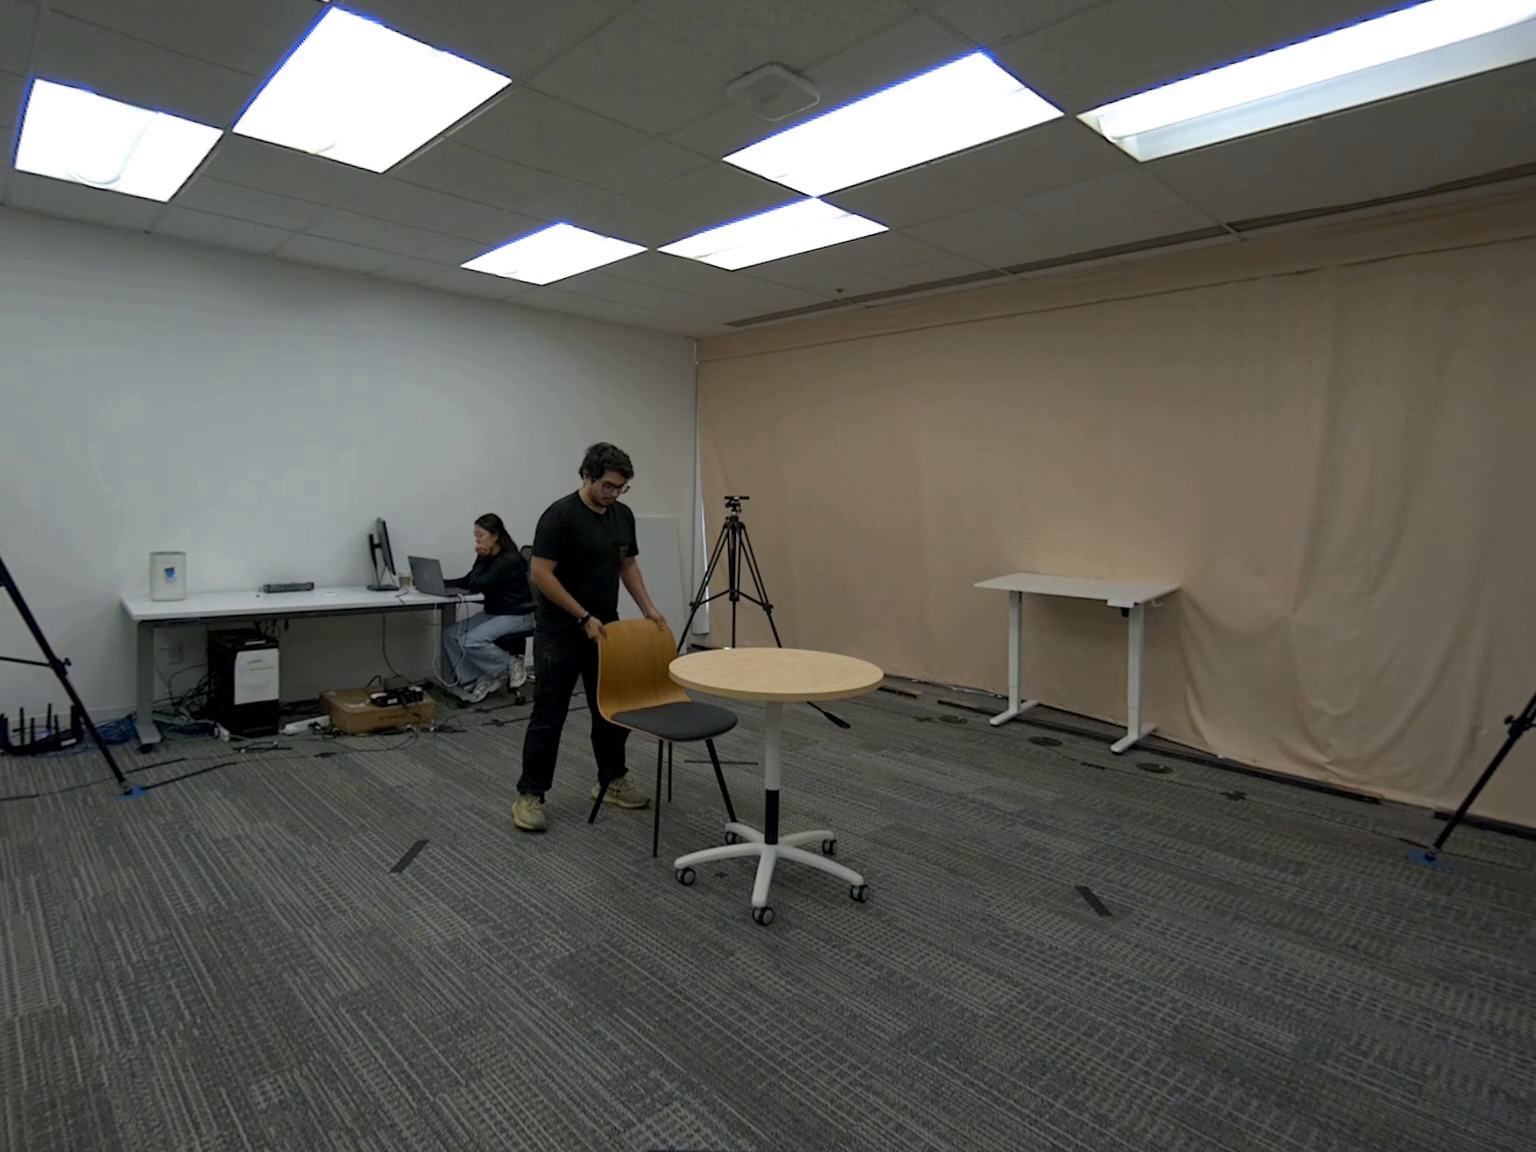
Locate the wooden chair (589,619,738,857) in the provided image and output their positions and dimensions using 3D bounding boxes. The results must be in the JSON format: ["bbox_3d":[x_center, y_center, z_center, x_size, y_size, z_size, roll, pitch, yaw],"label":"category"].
[{"bbox_3d":[-0.430,0.633,3.523,0.535,0.878,0.467,-2,-1,45],"label":"wooden chair"}]
